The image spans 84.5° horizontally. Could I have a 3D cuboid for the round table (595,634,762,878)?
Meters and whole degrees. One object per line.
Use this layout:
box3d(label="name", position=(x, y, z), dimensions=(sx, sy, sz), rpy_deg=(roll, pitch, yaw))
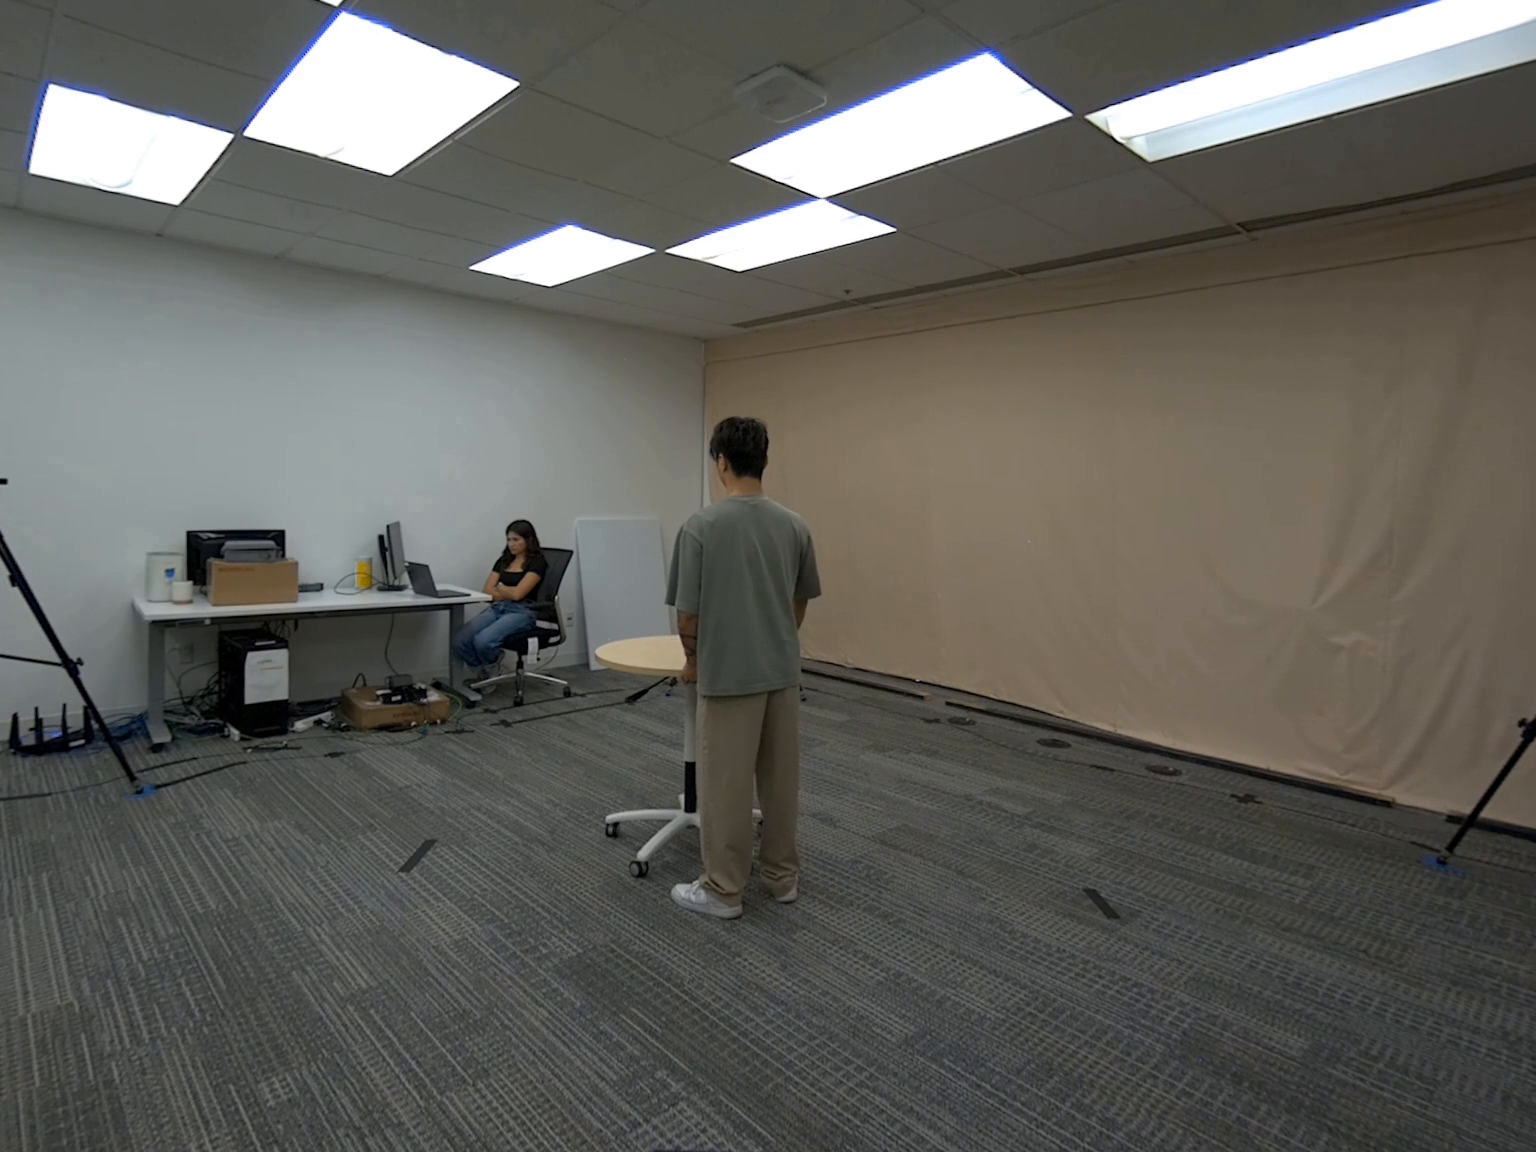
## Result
box3d(label="round table", position=(-0.295, 0.686, 3.352), dimensions=(0.784, 0.784, 0.788), rpy_deg=(1, 4, -1))
